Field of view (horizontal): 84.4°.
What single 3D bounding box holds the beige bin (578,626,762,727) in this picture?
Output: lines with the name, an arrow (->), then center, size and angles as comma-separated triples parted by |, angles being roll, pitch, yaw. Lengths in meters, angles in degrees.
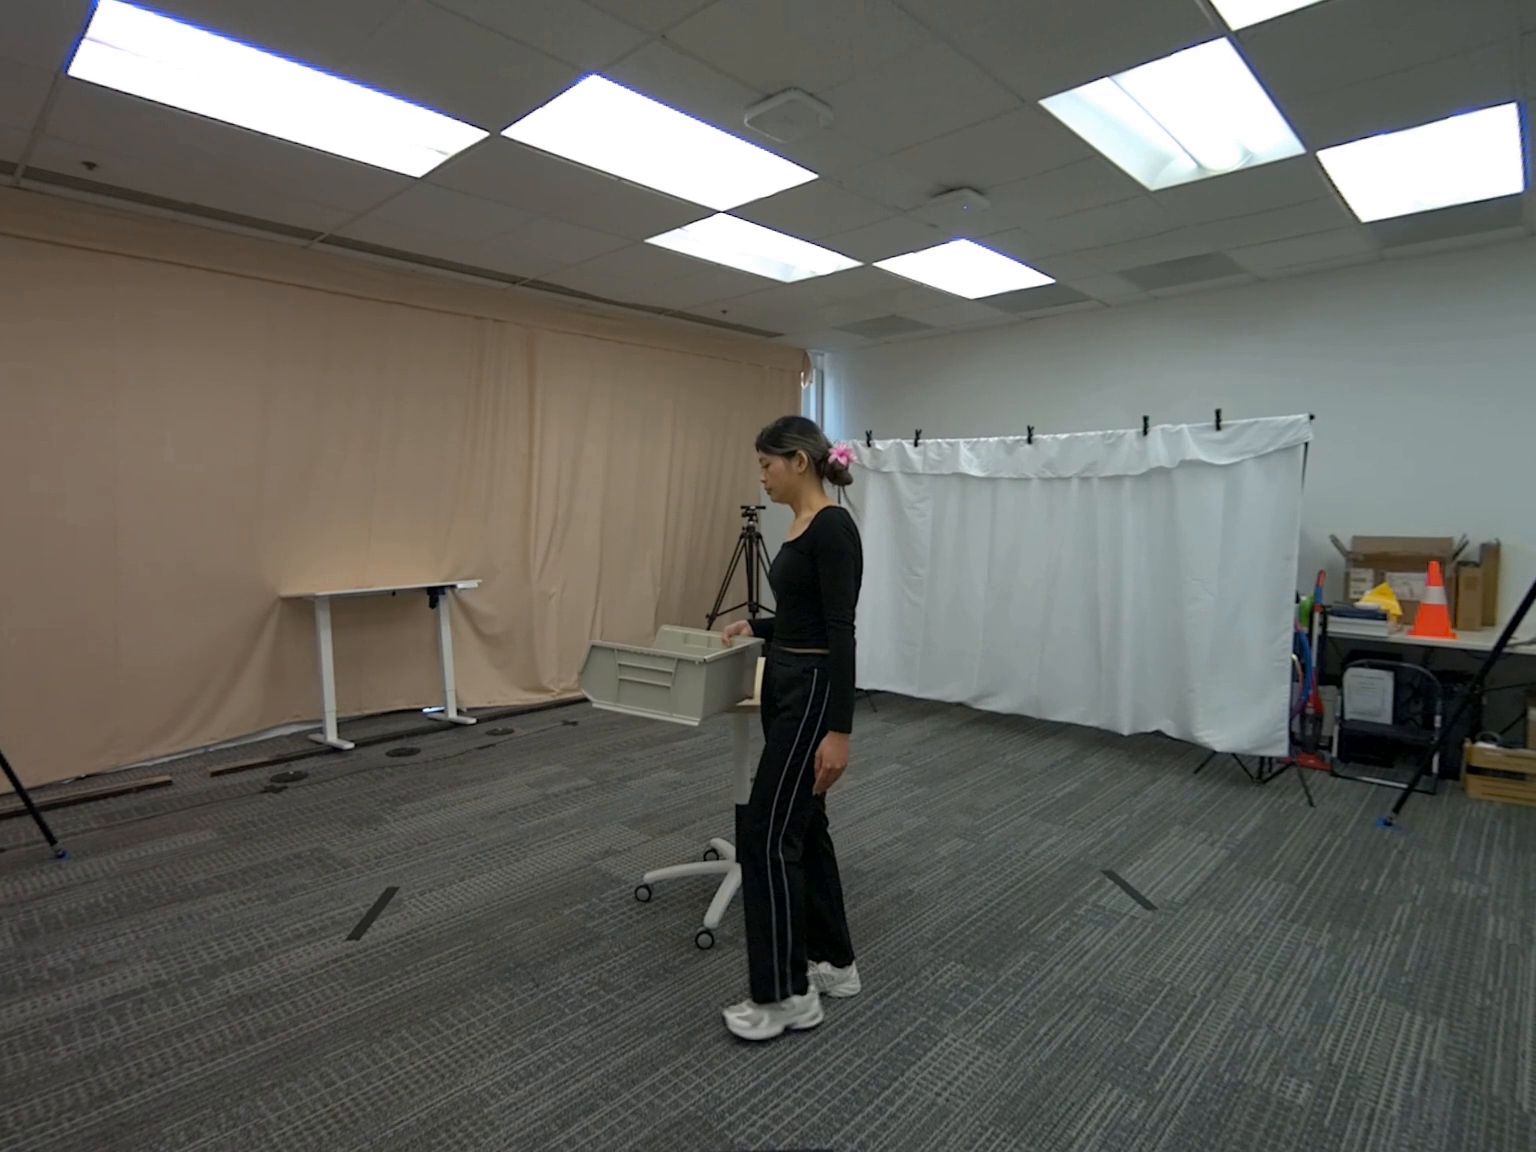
beige bin -> -0.264, 0.273, 2.375 | 0.386, 0.188, 0.413 | 7, 4, 21
